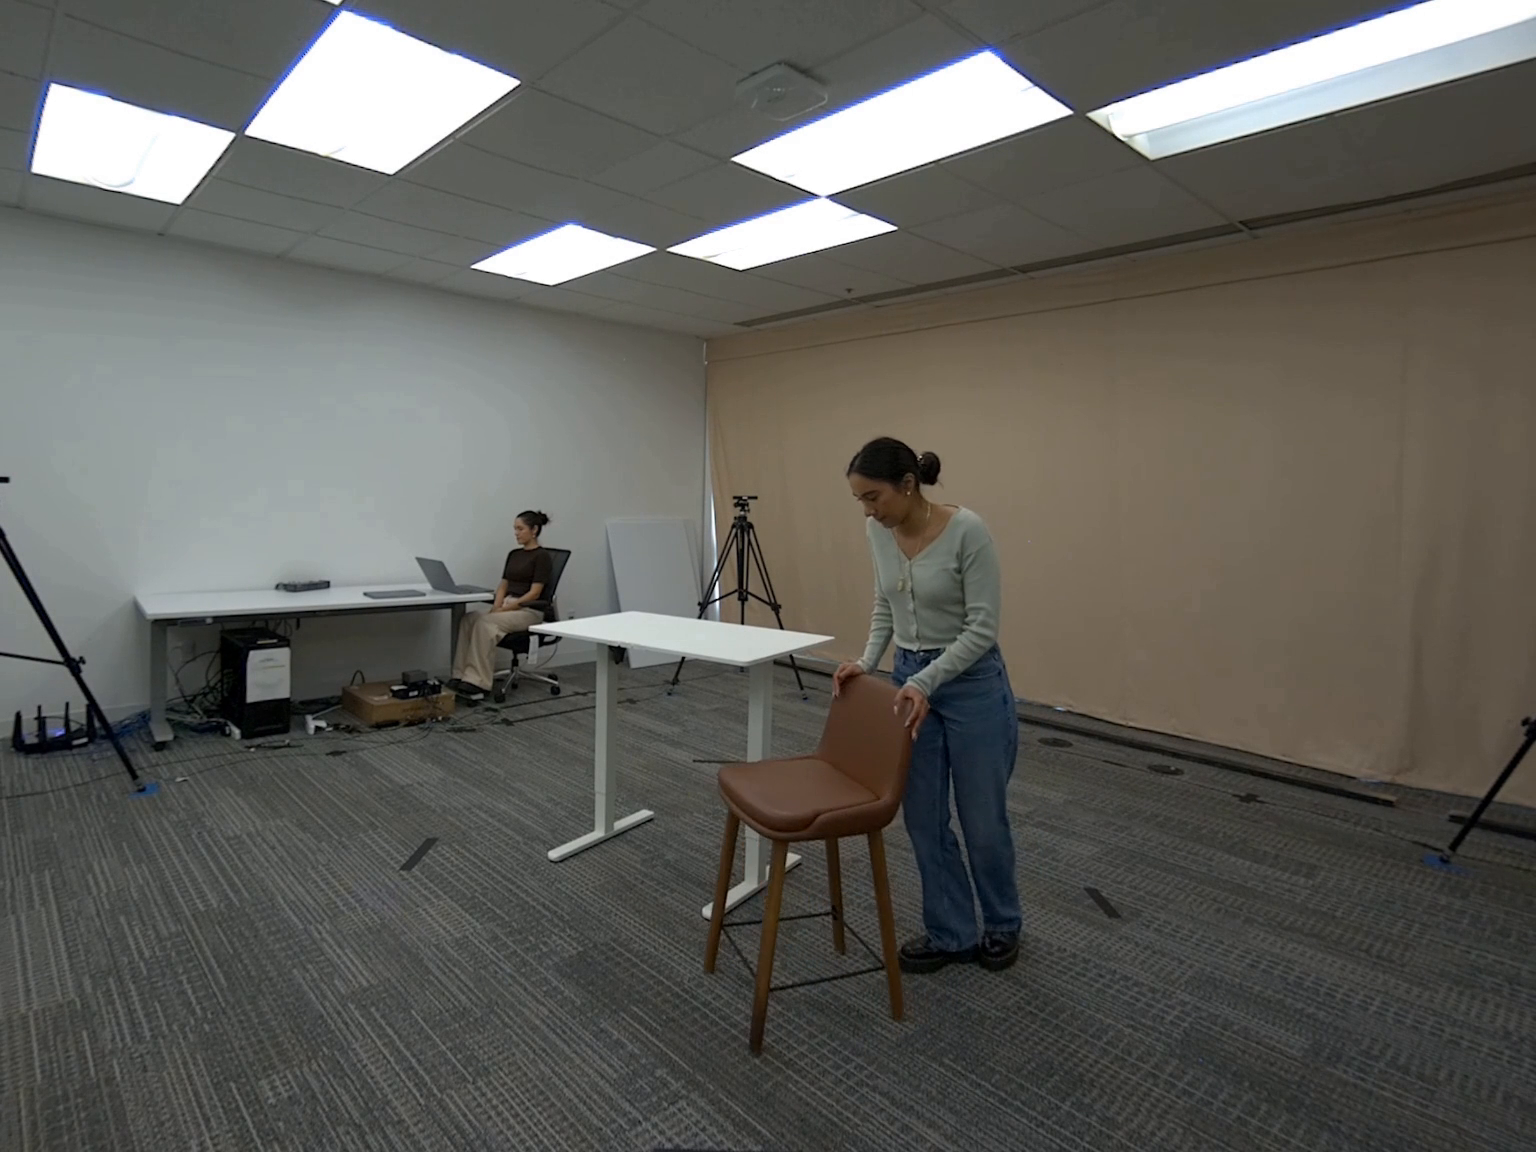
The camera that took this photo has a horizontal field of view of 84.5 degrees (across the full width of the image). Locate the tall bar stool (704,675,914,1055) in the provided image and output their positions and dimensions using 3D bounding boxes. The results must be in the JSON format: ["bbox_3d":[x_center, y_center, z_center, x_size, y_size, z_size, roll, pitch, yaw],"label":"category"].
[{"bbox_3d":[0.114,0.744,2.332,0.460,0.888,0.465,2,4,-21],"label":"tall bar stool"}]
